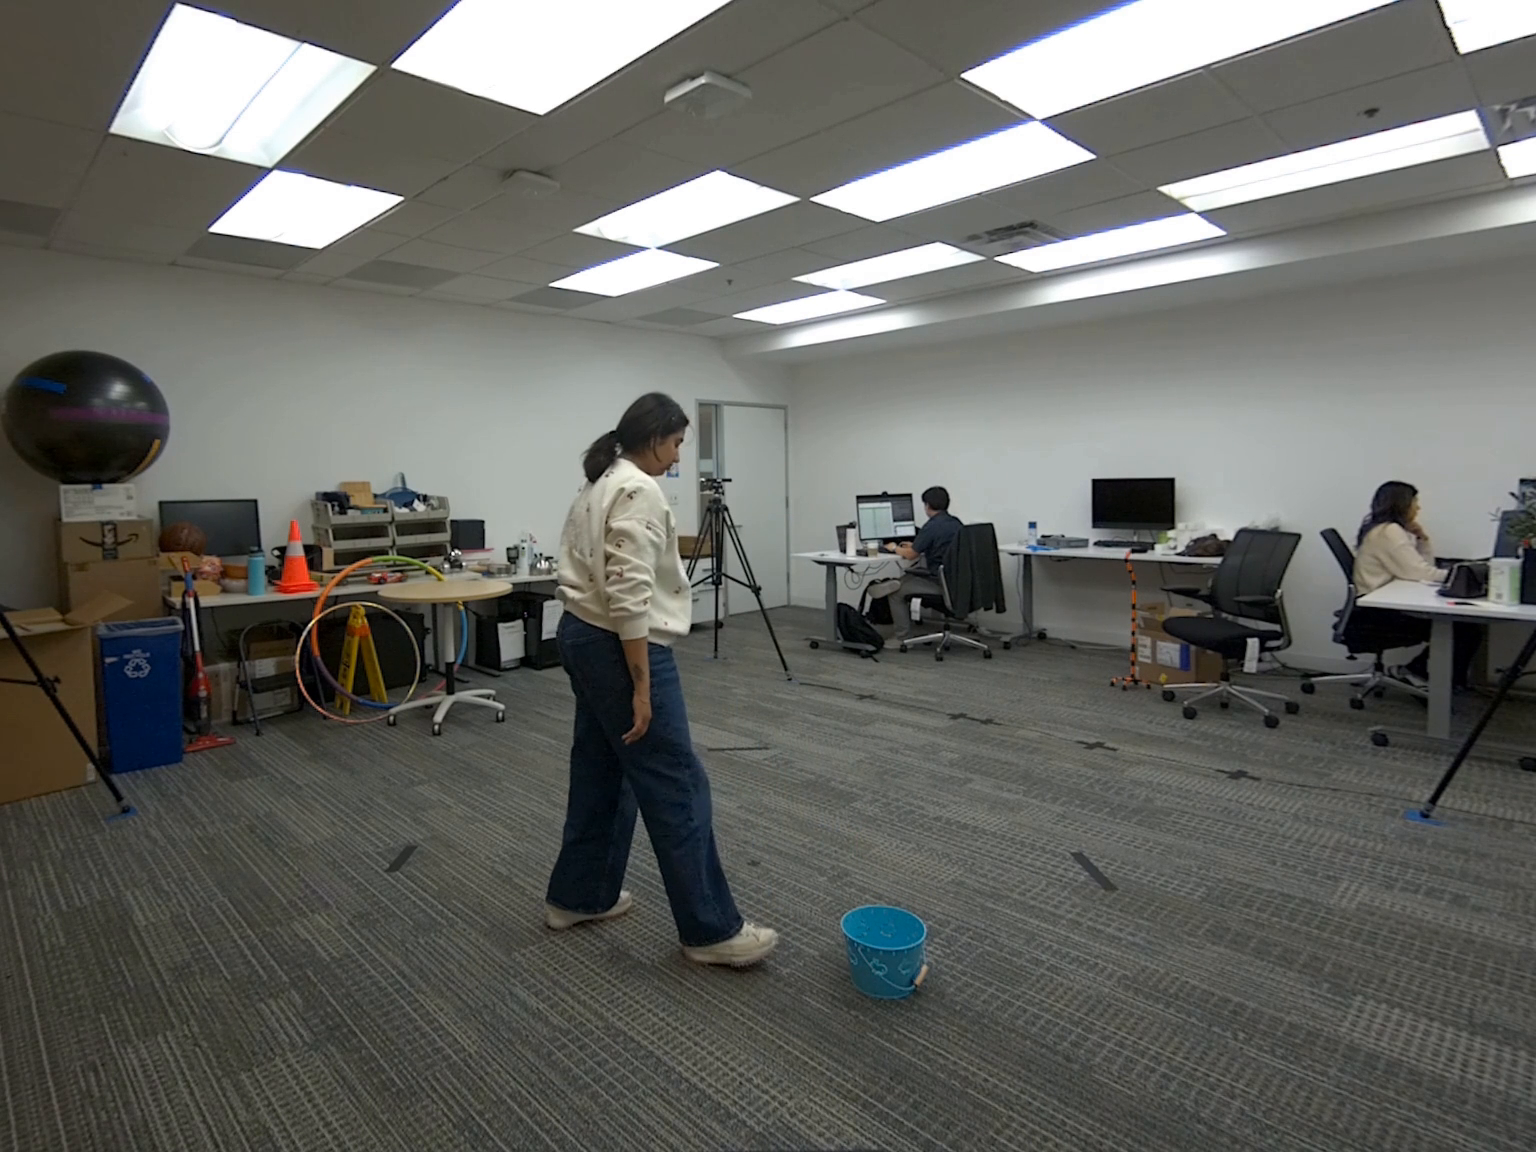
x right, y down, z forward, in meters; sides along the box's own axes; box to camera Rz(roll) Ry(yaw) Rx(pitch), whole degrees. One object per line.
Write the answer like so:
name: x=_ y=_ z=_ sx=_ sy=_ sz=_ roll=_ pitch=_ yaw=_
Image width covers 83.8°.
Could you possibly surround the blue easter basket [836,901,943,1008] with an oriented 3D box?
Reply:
blue easter basket: x=0.327 y=1.037 z=2.367 sx=0.243 sy=0.155 sz=0.245 roll=-2 pitch=5 yaw=-2
